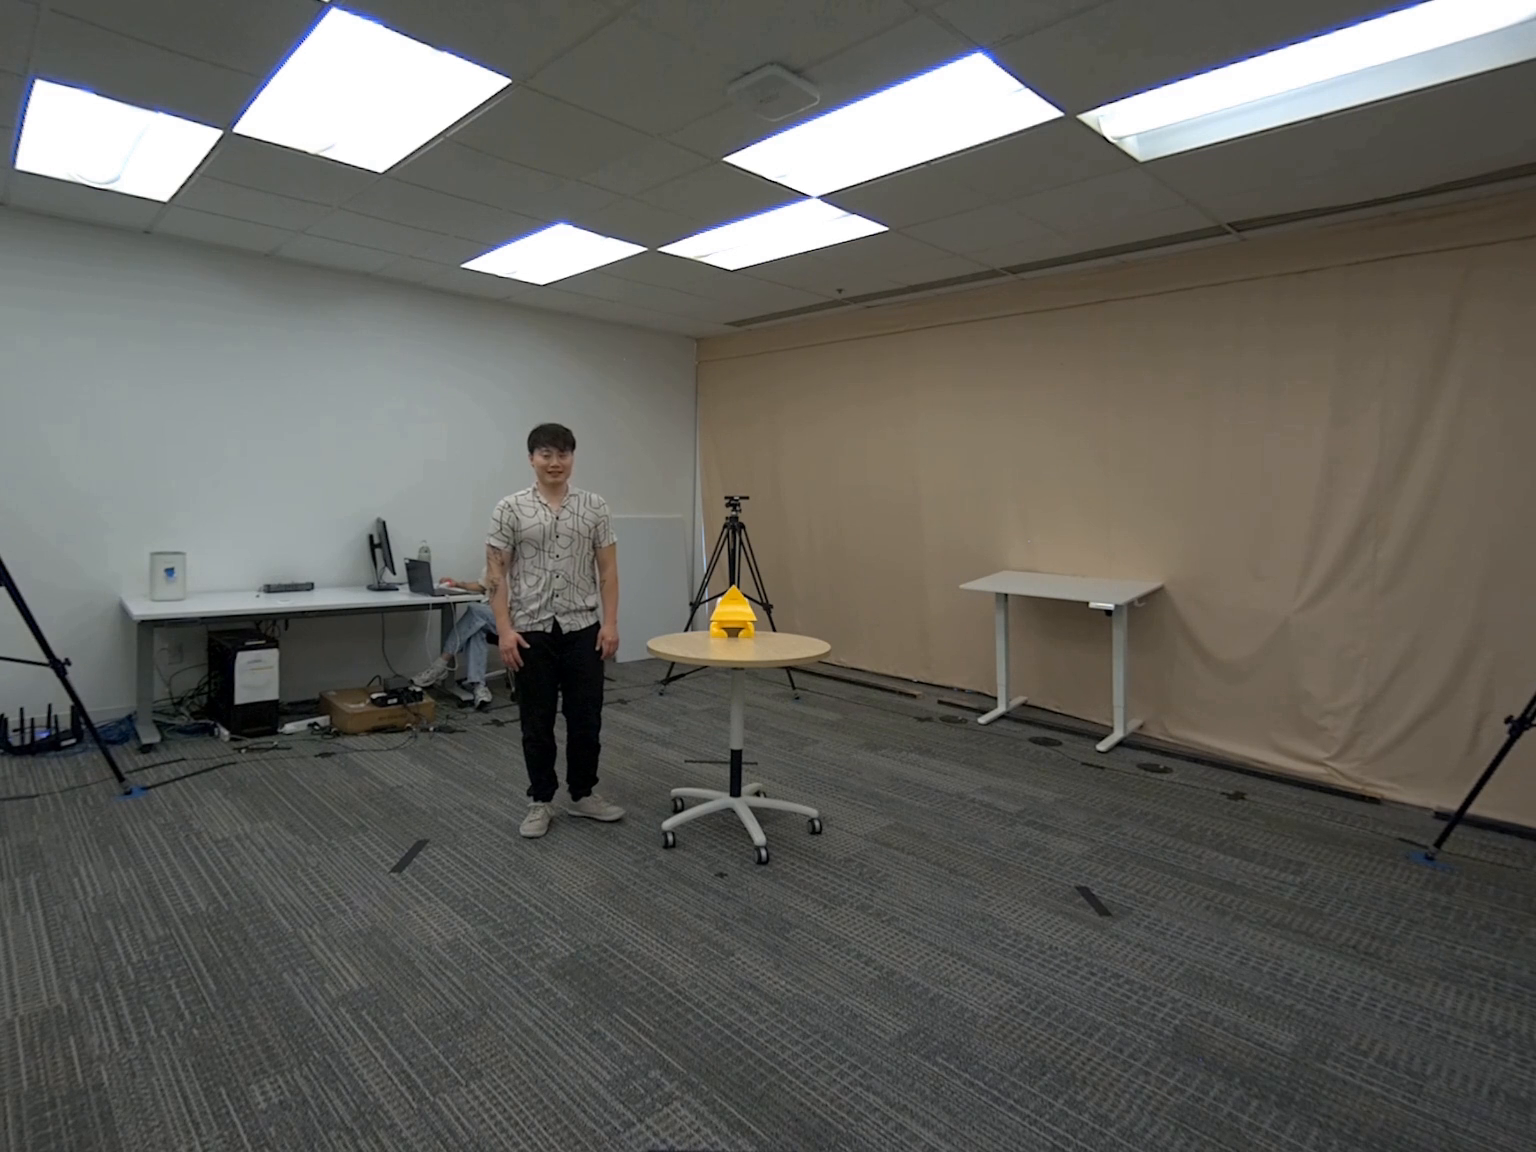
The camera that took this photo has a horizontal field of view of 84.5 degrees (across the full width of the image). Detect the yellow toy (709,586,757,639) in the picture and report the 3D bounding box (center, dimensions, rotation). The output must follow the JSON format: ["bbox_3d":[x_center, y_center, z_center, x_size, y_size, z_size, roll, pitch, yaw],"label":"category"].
[{"bbox_3d":[-0.162,0.146,3.754,0.204,0.230,0.195,1,6,-5],"label":"yellow toy"}]
